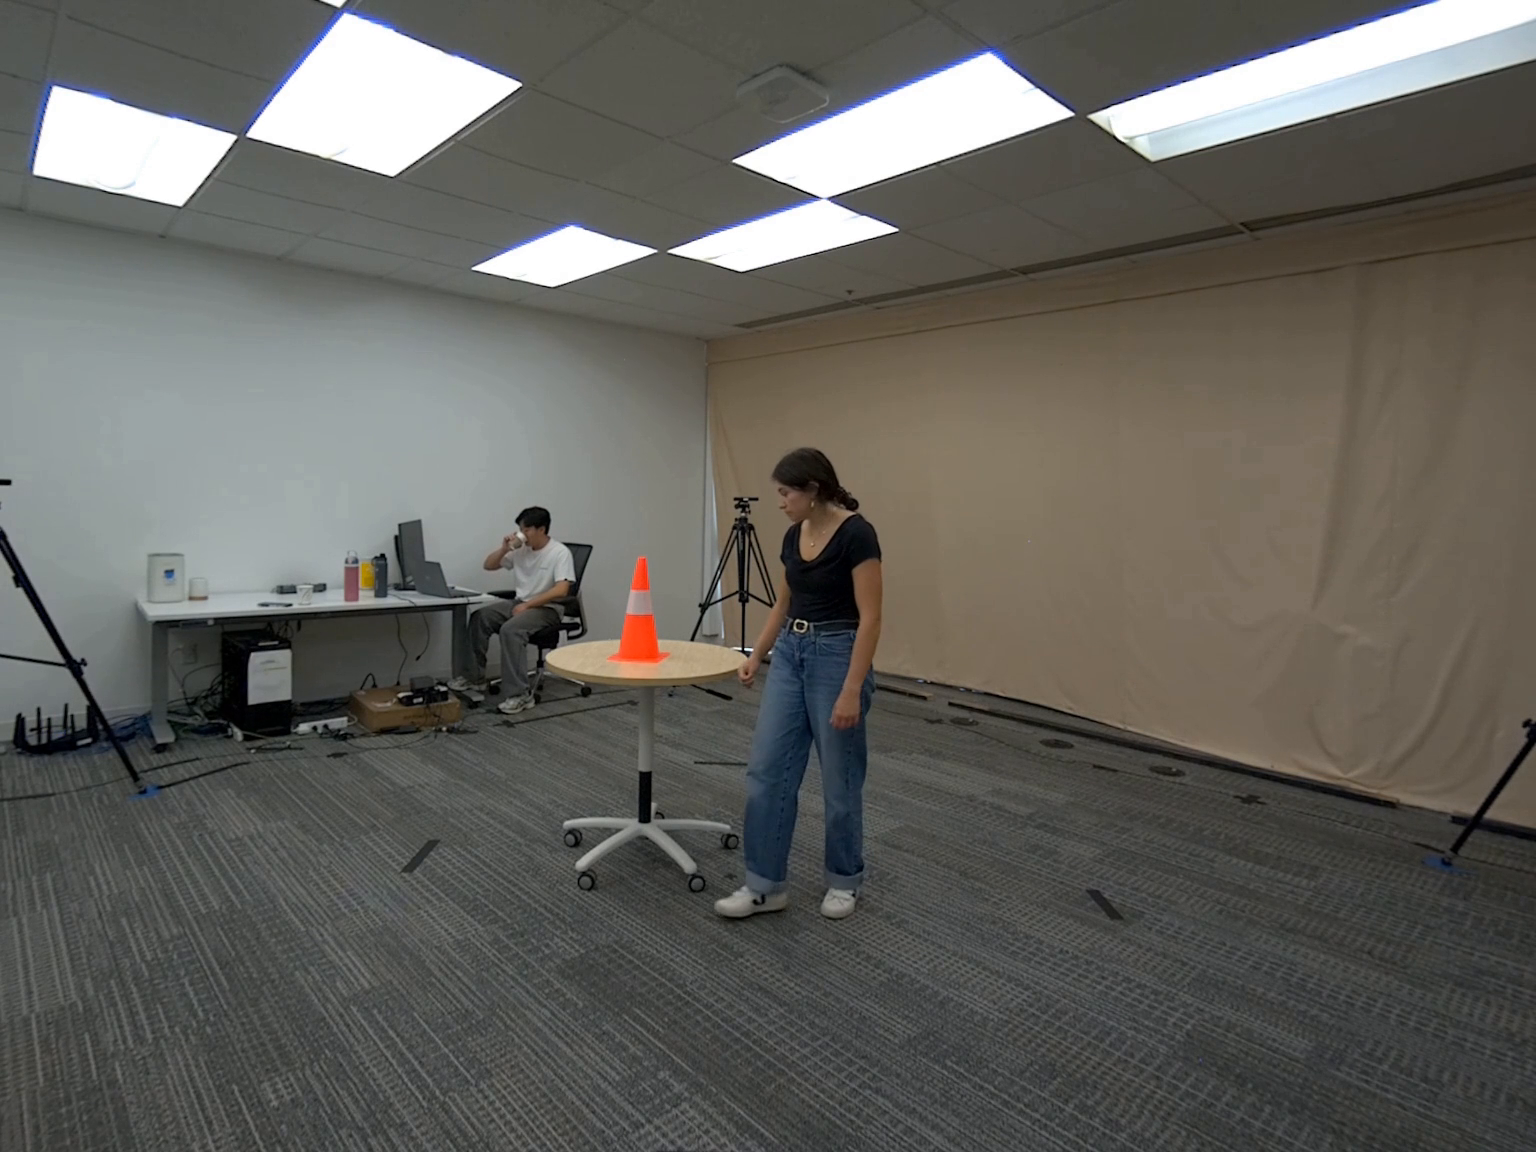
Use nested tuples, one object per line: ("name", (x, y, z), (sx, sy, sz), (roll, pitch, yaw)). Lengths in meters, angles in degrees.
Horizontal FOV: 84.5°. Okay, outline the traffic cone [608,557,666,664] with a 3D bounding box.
("traffic cone", (-0.491, 0.125, 3.193), (0.204, 0.383, 0.204), (2, 2, 7))
